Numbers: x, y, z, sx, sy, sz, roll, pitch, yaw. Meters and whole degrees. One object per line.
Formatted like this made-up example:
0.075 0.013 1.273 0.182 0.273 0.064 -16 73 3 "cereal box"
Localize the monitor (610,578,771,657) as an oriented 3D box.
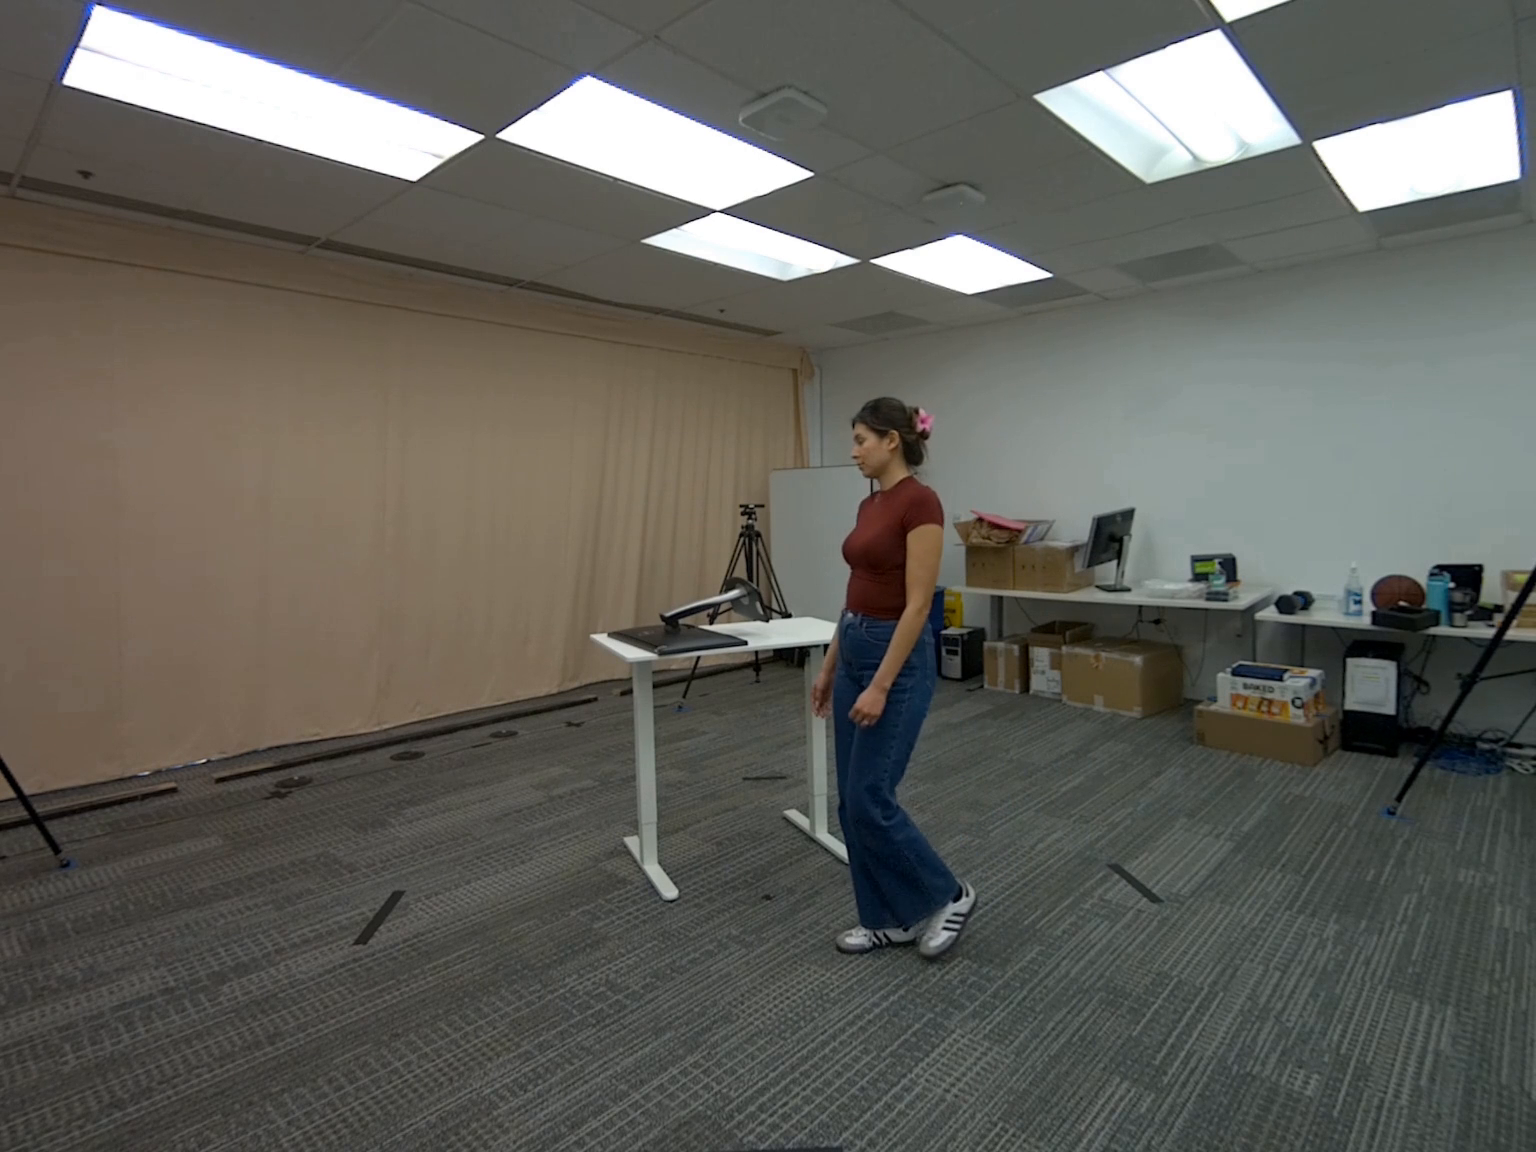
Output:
-0.291 0.179 3.239 0.514 0.185 0.554 -23 13 -25 "monitor"
